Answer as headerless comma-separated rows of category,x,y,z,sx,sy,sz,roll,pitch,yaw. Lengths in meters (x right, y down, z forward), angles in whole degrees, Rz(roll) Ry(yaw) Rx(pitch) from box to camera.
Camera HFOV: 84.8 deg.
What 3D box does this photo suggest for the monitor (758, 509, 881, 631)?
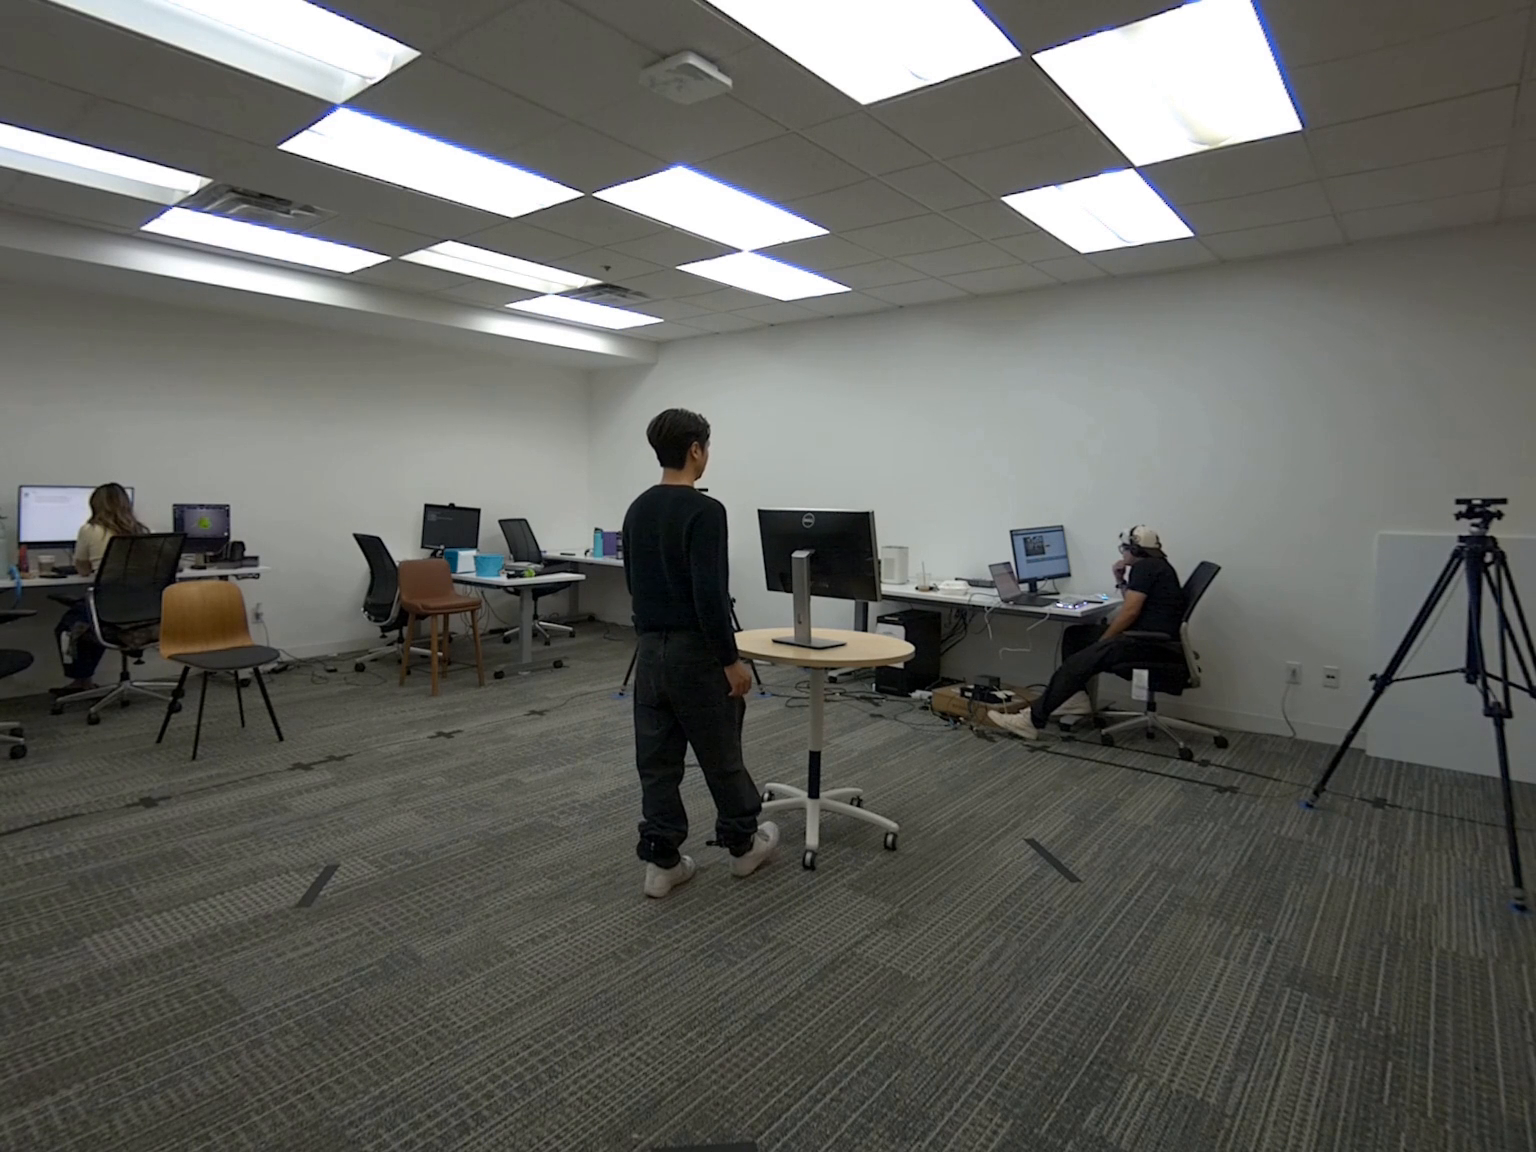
monitor,0.167,-0.001,3.419,0.547,0.517,0.169,2,-1,40
